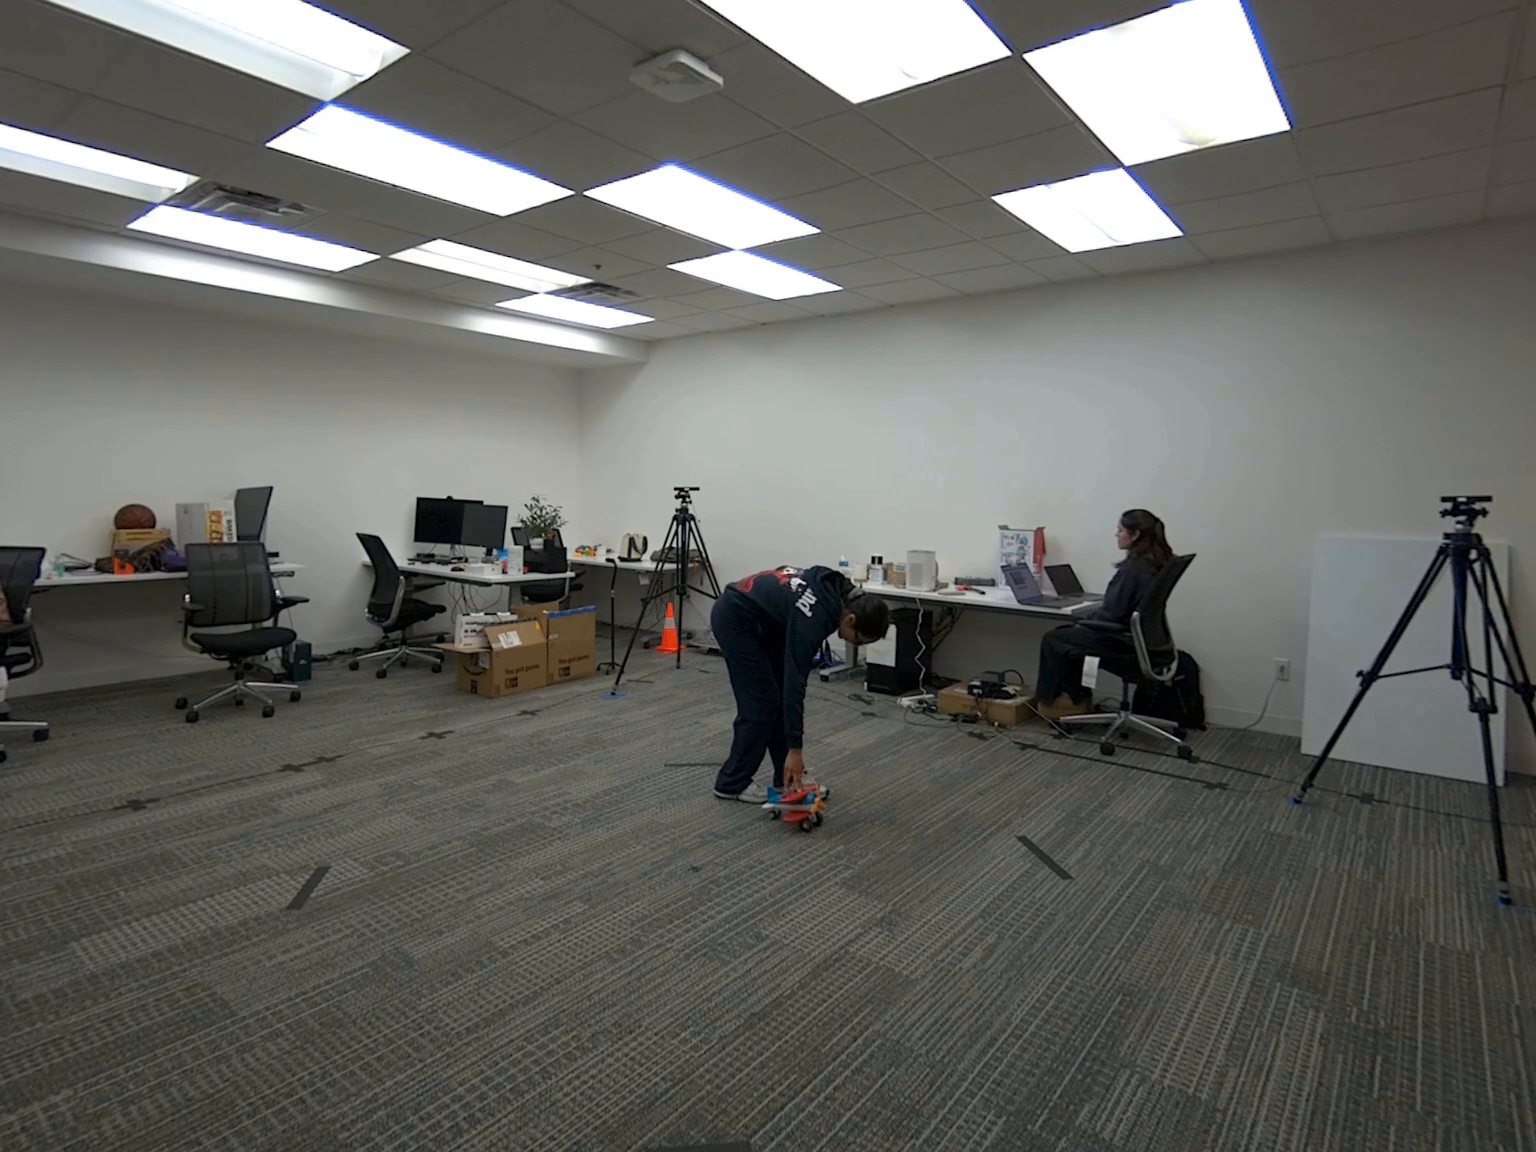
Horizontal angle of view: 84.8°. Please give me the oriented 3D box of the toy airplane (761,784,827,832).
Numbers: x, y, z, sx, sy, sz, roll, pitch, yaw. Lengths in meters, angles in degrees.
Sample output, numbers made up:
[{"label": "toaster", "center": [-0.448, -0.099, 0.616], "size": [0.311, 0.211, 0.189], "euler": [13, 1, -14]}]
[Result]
[{"label": "toy airplane", "center": [0.087, 0.954, 3.537], "size": [0.261, 0.156, 0.250], "euler": [3, 4, 4]}]
